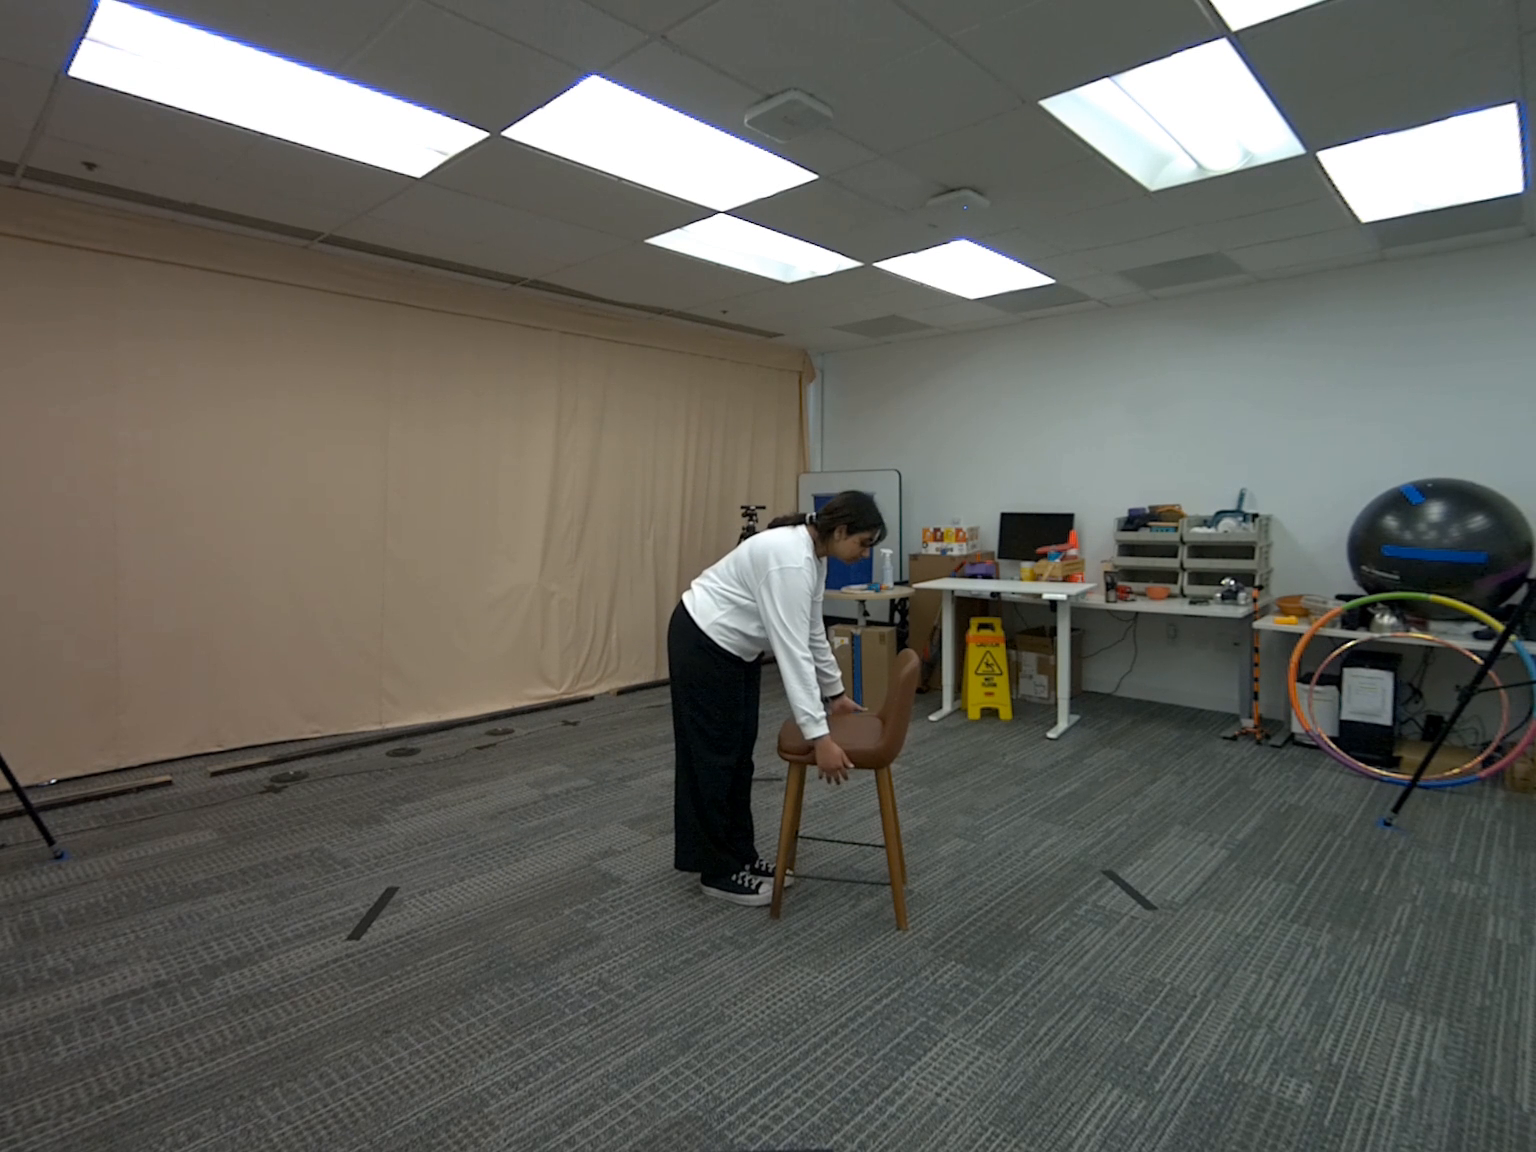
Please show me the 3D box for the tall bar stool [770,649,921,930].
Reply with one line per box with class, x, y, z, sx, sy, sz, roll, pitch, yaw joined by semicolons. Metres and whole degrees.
tall bar stool;0.277;0.712;2.961;0.474;0.888;0.451;3;4;11
